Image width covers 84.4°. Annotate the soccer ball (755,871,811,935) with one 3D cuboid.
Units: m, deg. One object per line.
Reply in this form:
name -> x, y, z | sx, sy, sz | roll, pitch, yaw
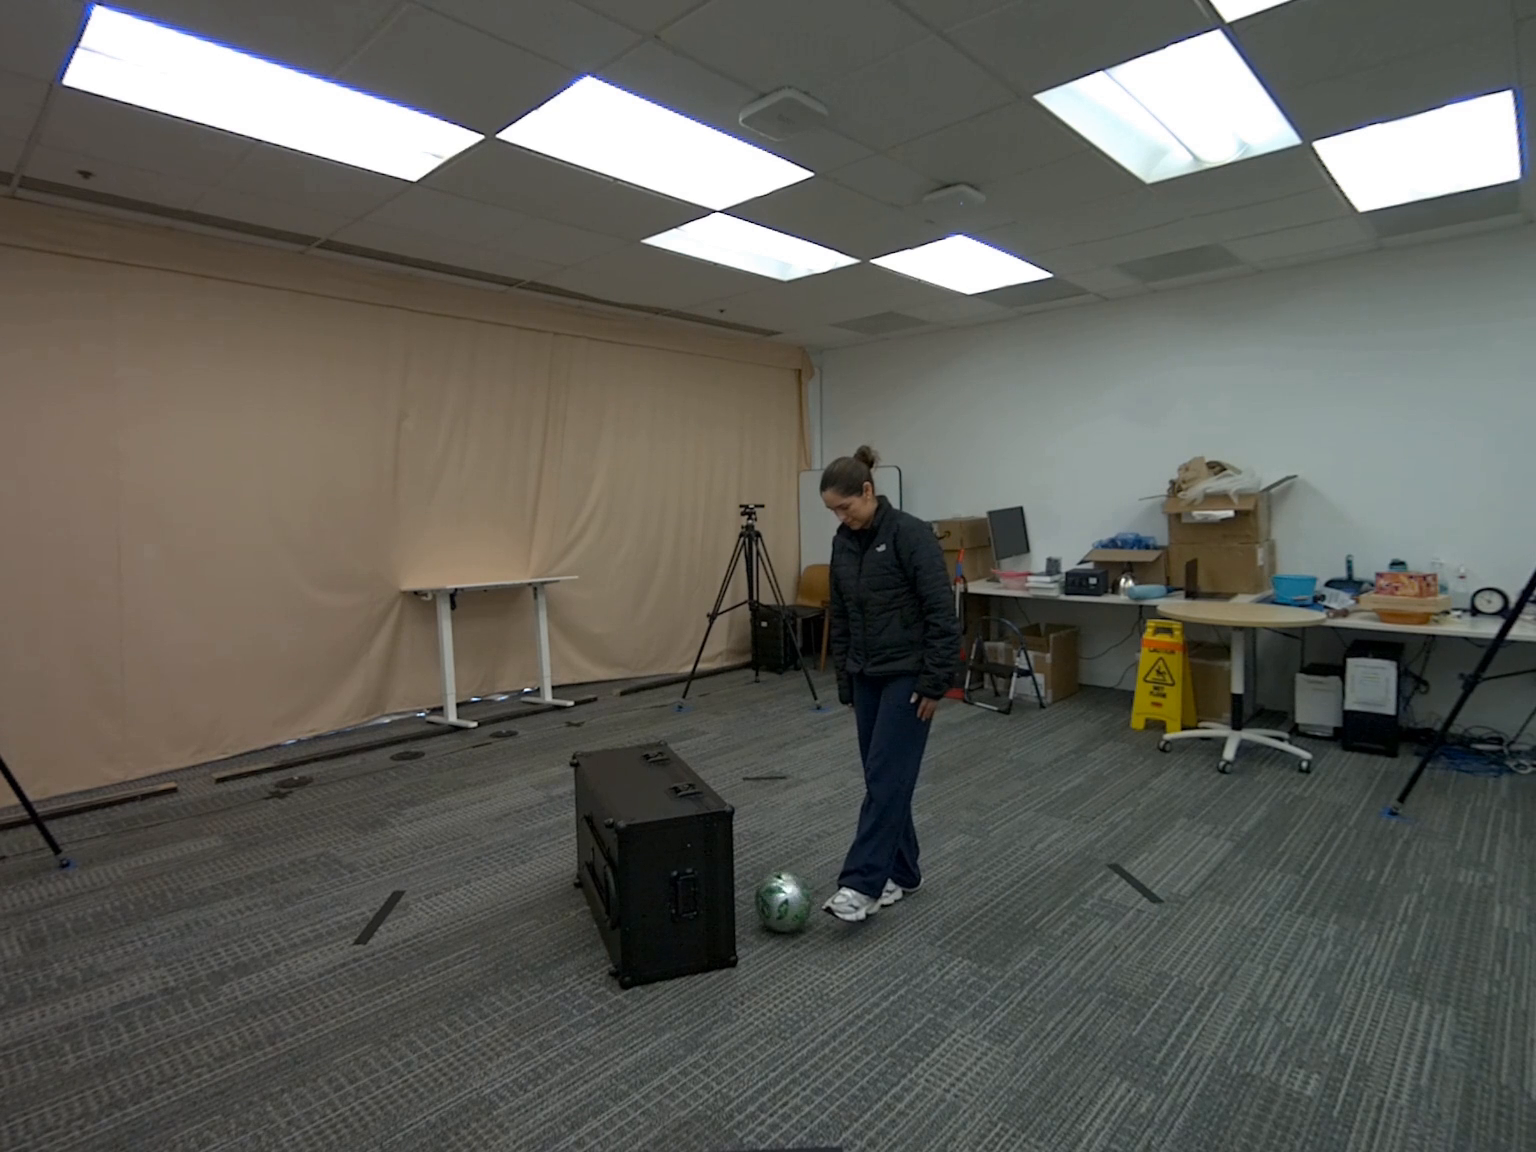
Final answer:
soccer ball -> 0.058, 1.071, 2.744 | 0.187, 0.187, 0.188 | -1, 4, -2
